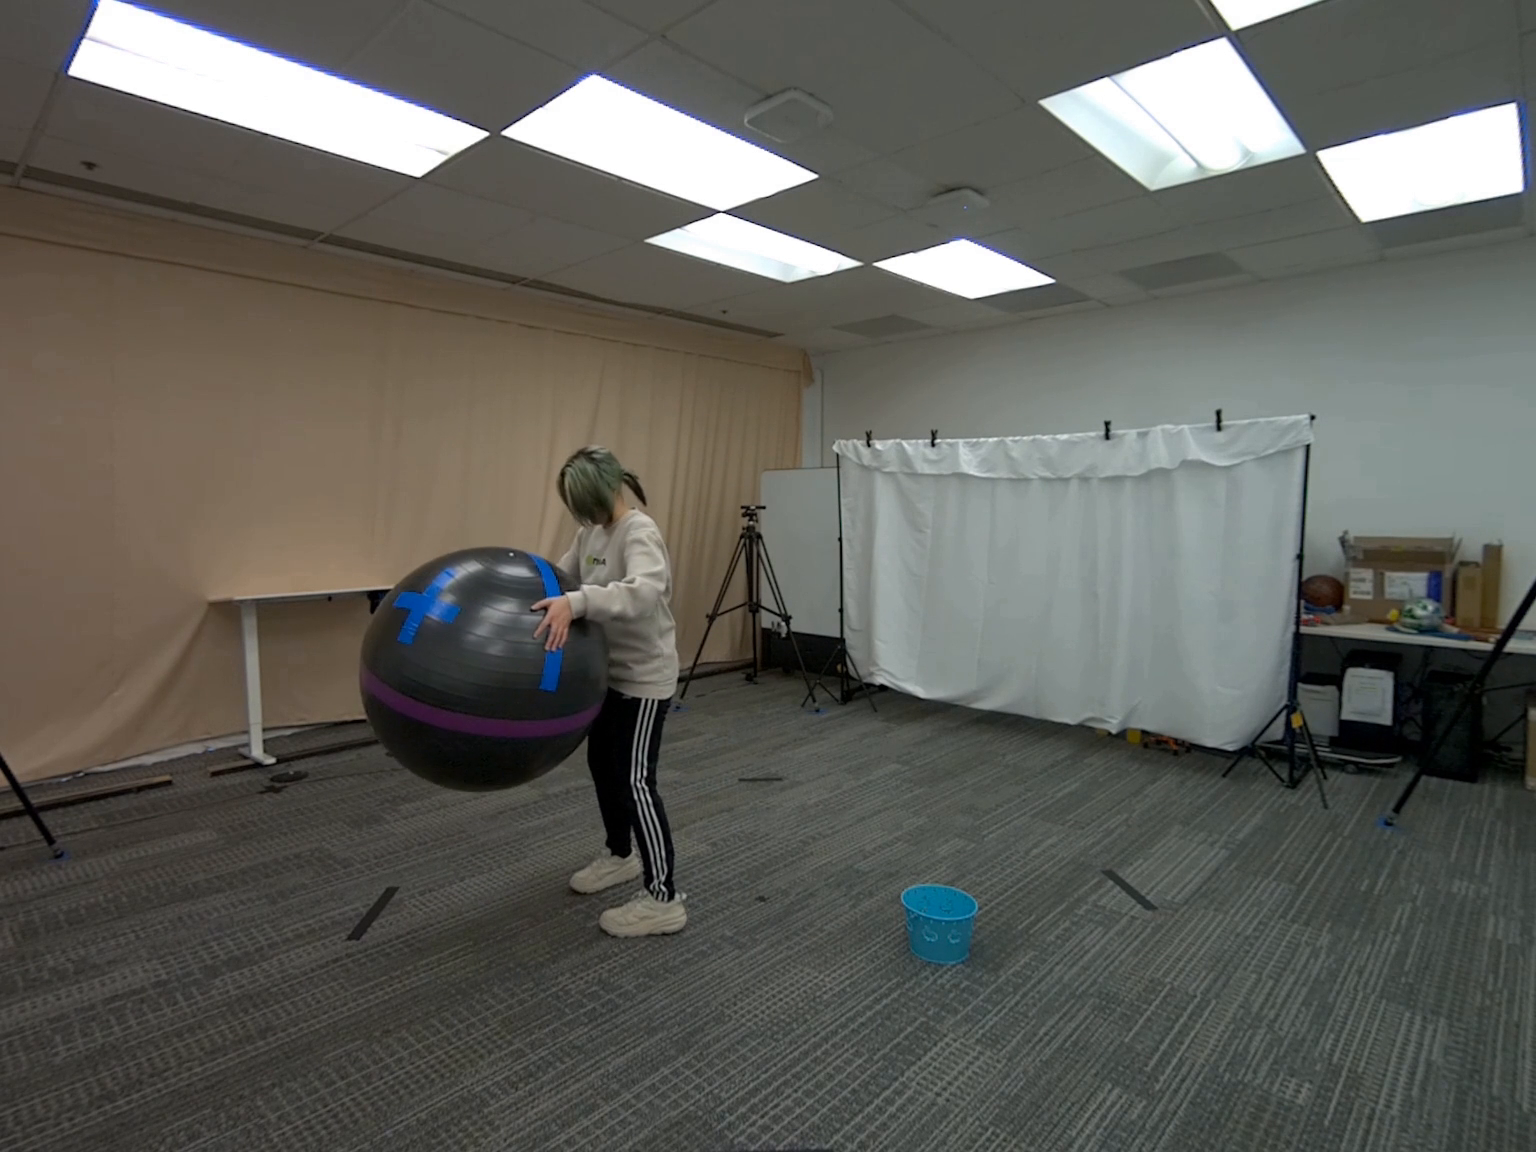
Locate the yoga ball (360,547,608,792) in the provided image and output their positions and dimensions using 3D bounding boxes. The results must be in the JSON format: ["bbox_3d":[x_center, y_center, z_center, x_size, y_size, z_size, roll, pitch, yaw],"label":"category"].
[{"bbox_3d":[-0.887,0.293,2.643,0.757,0.756,0.760,0,4,-2],"label":"yoga ball"}]
